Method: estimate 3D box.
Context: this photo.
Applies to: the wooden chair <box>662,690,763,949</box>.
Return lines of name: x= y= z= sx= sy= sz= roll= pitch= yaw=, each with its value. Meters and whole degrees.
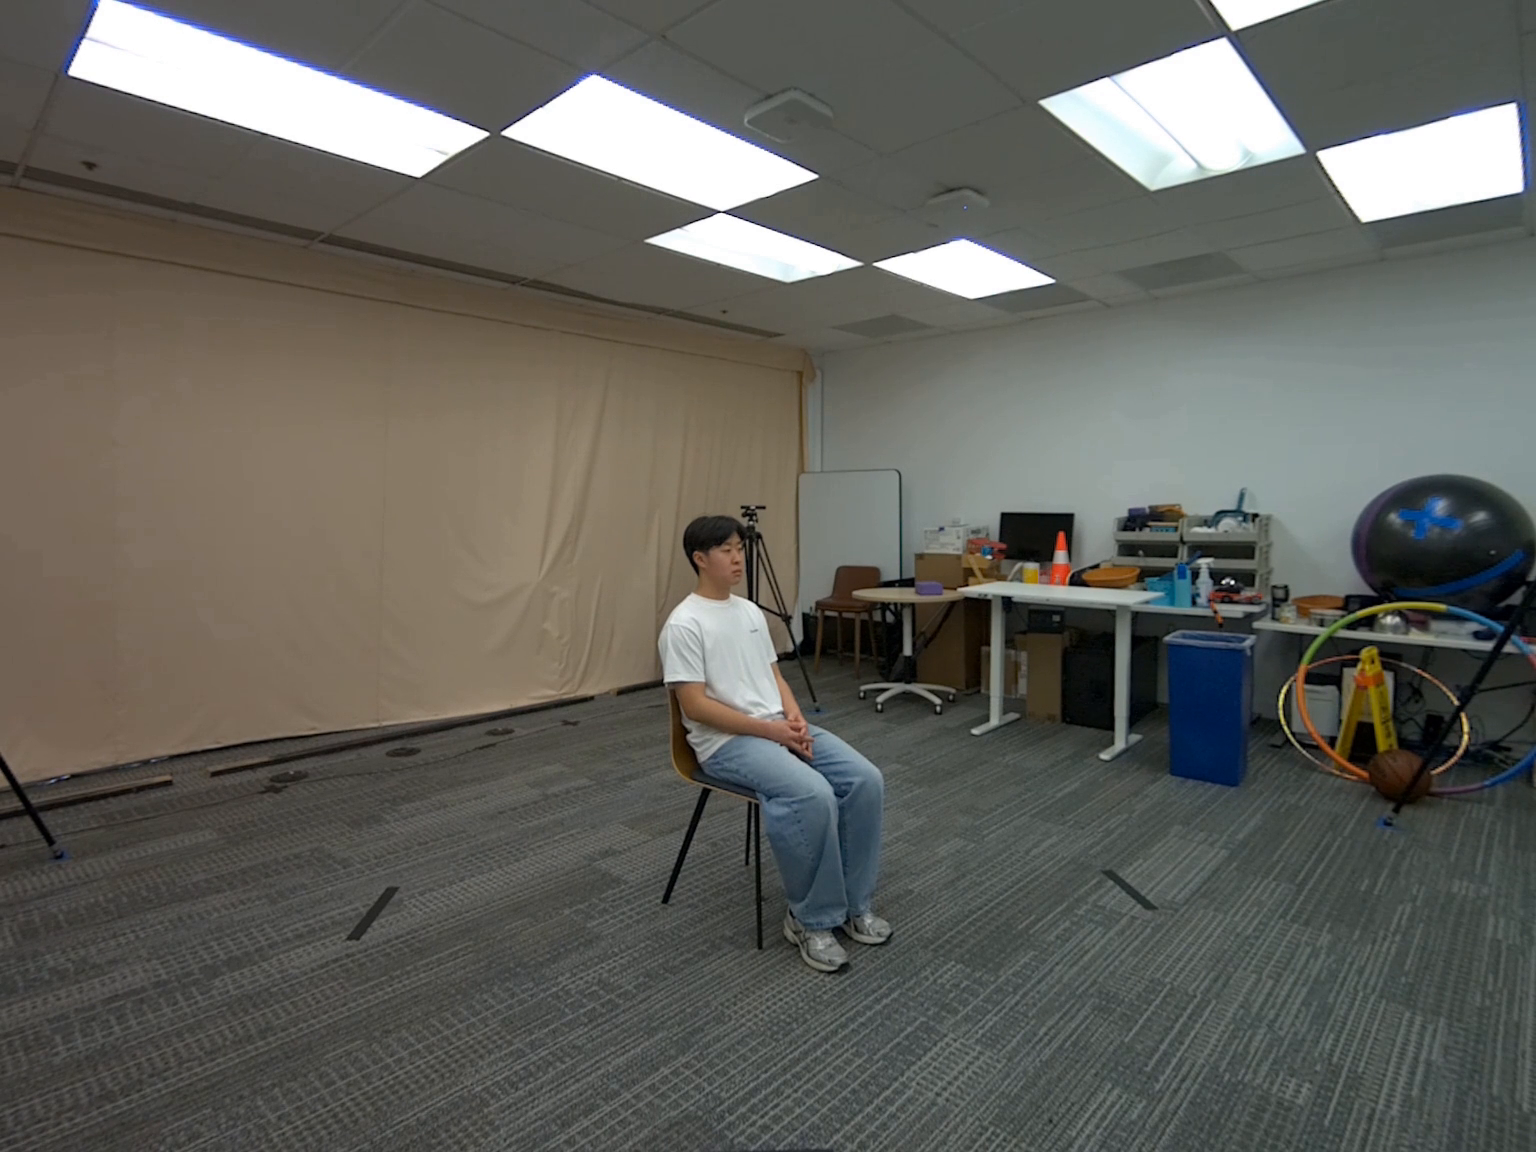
wooden chair: x=-0.053 y=0.724 z=2.928 sx=0.539 sy=0.877 sz=0.464 roll=-4 pitch=1 yaw=42
